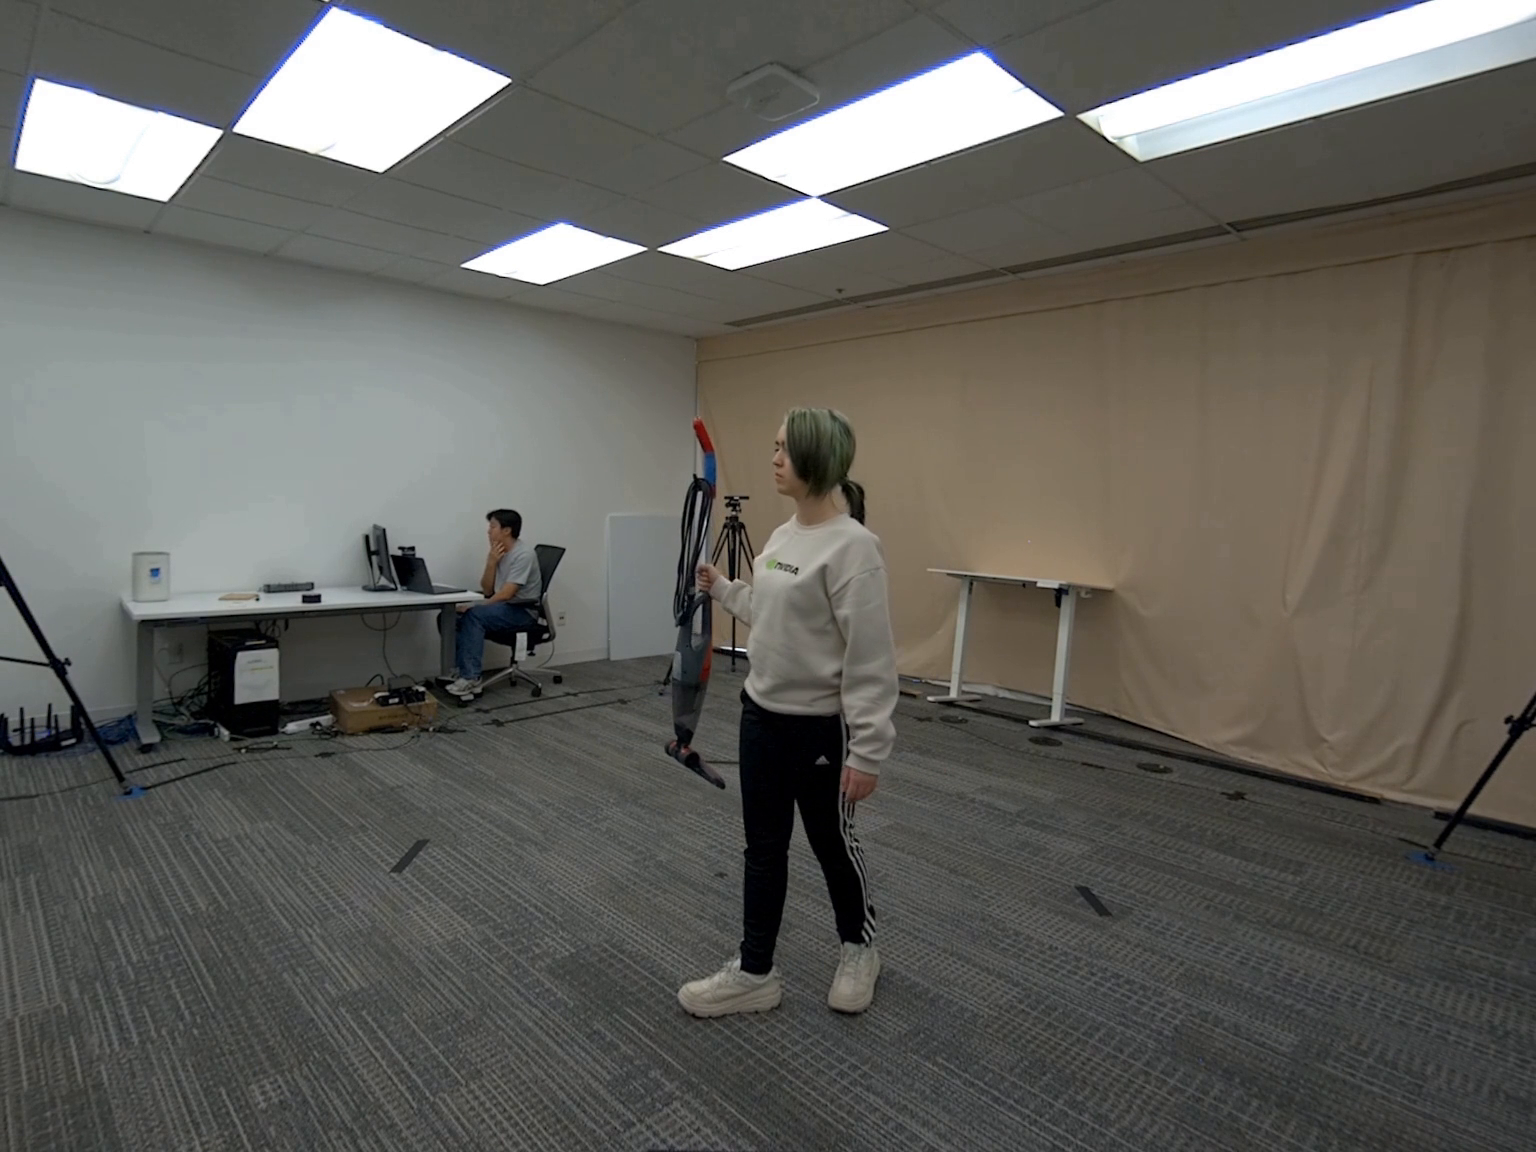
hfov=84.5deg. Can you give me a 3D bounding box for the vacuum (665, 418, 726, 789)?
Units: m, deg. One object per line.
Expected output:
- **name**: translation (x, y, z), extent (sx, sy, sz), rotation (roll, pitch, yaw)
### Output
- **vacuum**: translation (-0.231, 0.063, 2.548), extent (0.141, 1.044, 0.259), rotation (-4, 8, -33)
